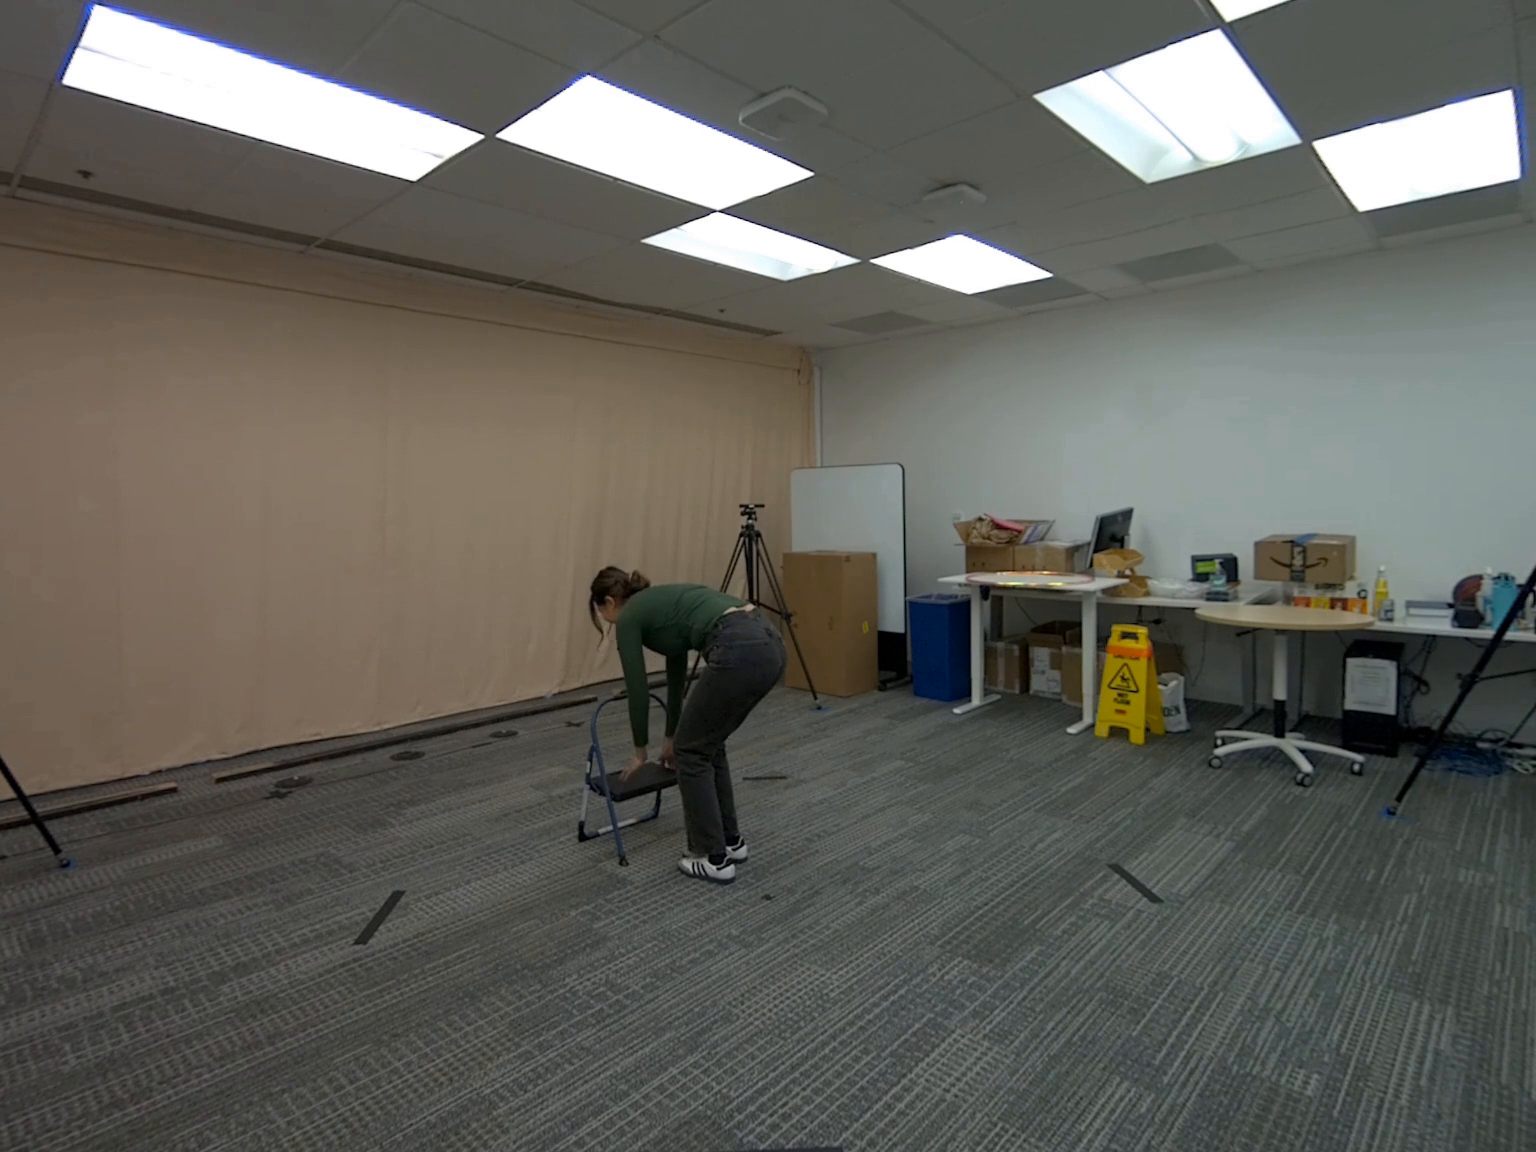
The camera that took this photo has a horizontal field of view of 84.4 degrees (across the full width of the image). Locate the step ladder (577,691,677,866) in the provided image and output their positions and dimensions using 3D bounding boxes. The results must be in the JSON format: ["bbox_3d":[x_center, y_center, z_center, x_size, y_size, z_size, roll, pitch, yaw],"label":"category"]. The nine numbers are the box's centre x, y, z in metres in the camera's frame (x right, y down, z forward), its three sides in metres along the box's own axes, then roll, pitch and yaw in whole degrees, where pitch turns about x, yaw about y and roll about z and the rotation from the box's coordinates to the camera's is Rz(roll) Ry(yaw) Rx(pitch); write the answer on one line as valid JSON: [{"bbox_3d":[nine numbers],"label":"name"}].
[{"bbox_3d":[-0.538,0.804,3.522,0.417,0.605,0.361,-4,4,-43],"label":"step ladder"}]
